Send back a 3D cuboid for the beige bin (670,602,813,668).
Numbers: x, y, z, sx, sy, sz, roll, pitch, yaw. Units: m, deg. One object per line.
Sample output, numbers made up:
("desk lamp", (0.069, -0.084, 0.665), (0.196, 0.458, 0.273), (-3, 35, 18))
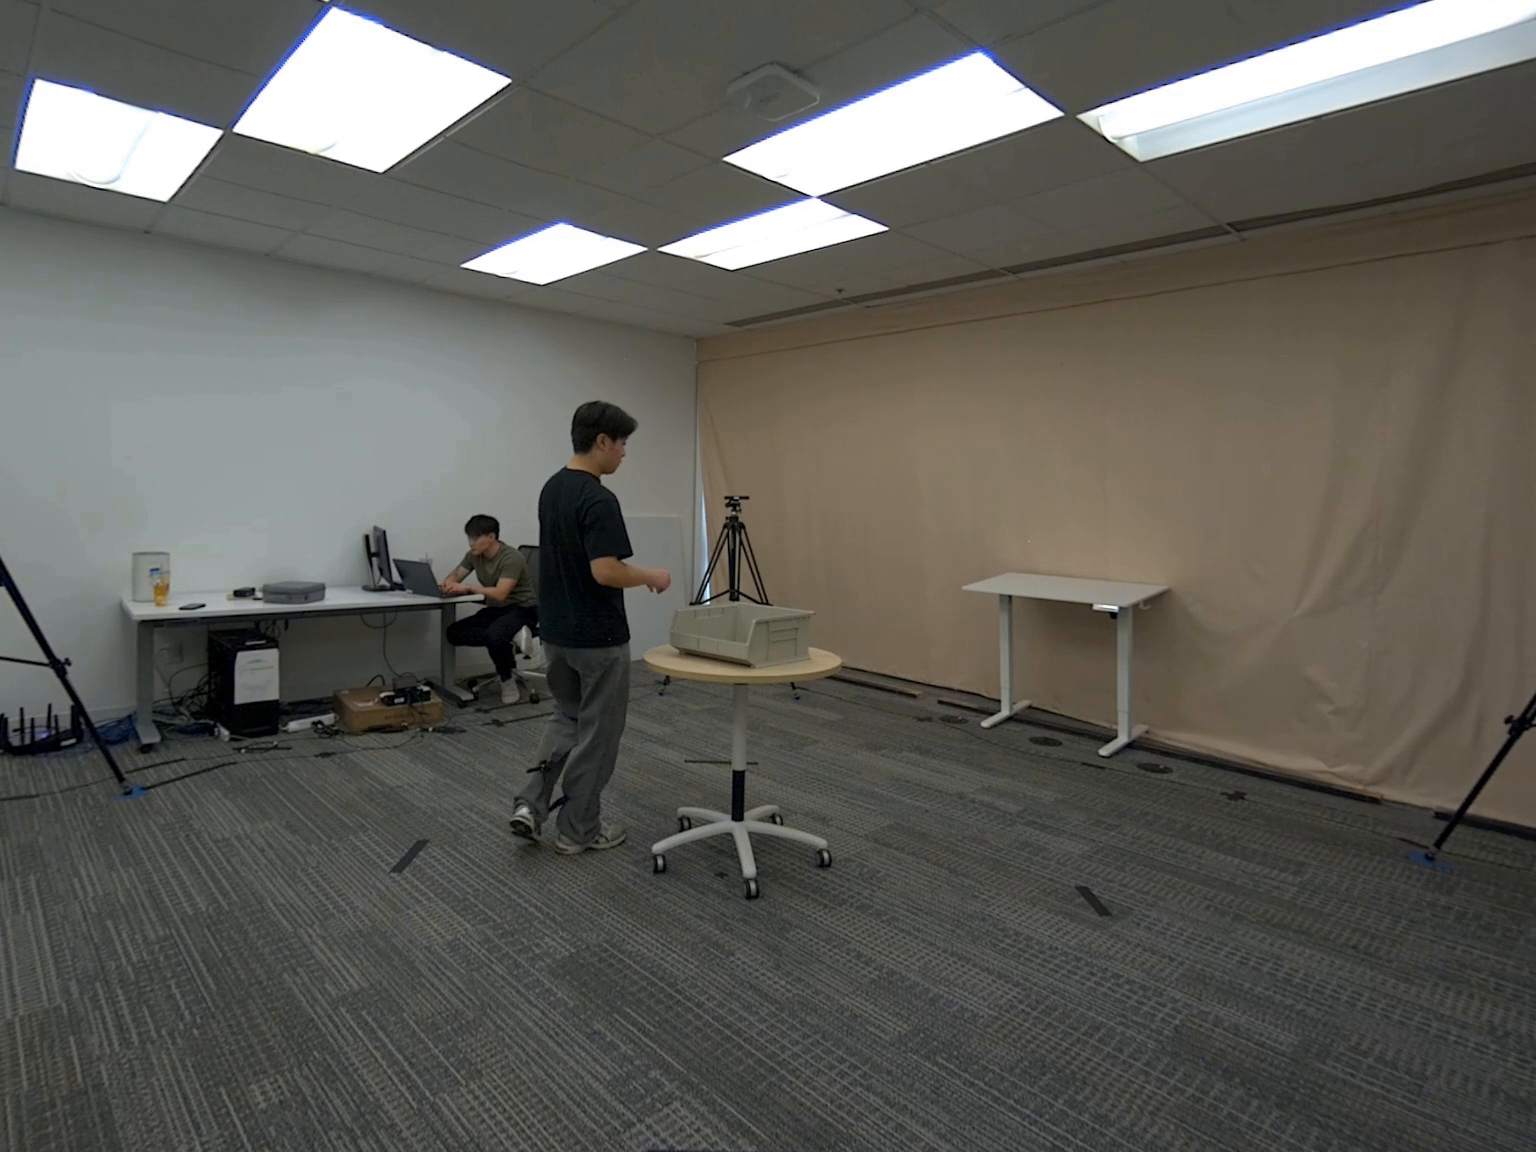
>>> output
("beige bin", (-0.110, 0.221, 3.228), (0.433, 0.189, 0.368), (4, 4, 42))
